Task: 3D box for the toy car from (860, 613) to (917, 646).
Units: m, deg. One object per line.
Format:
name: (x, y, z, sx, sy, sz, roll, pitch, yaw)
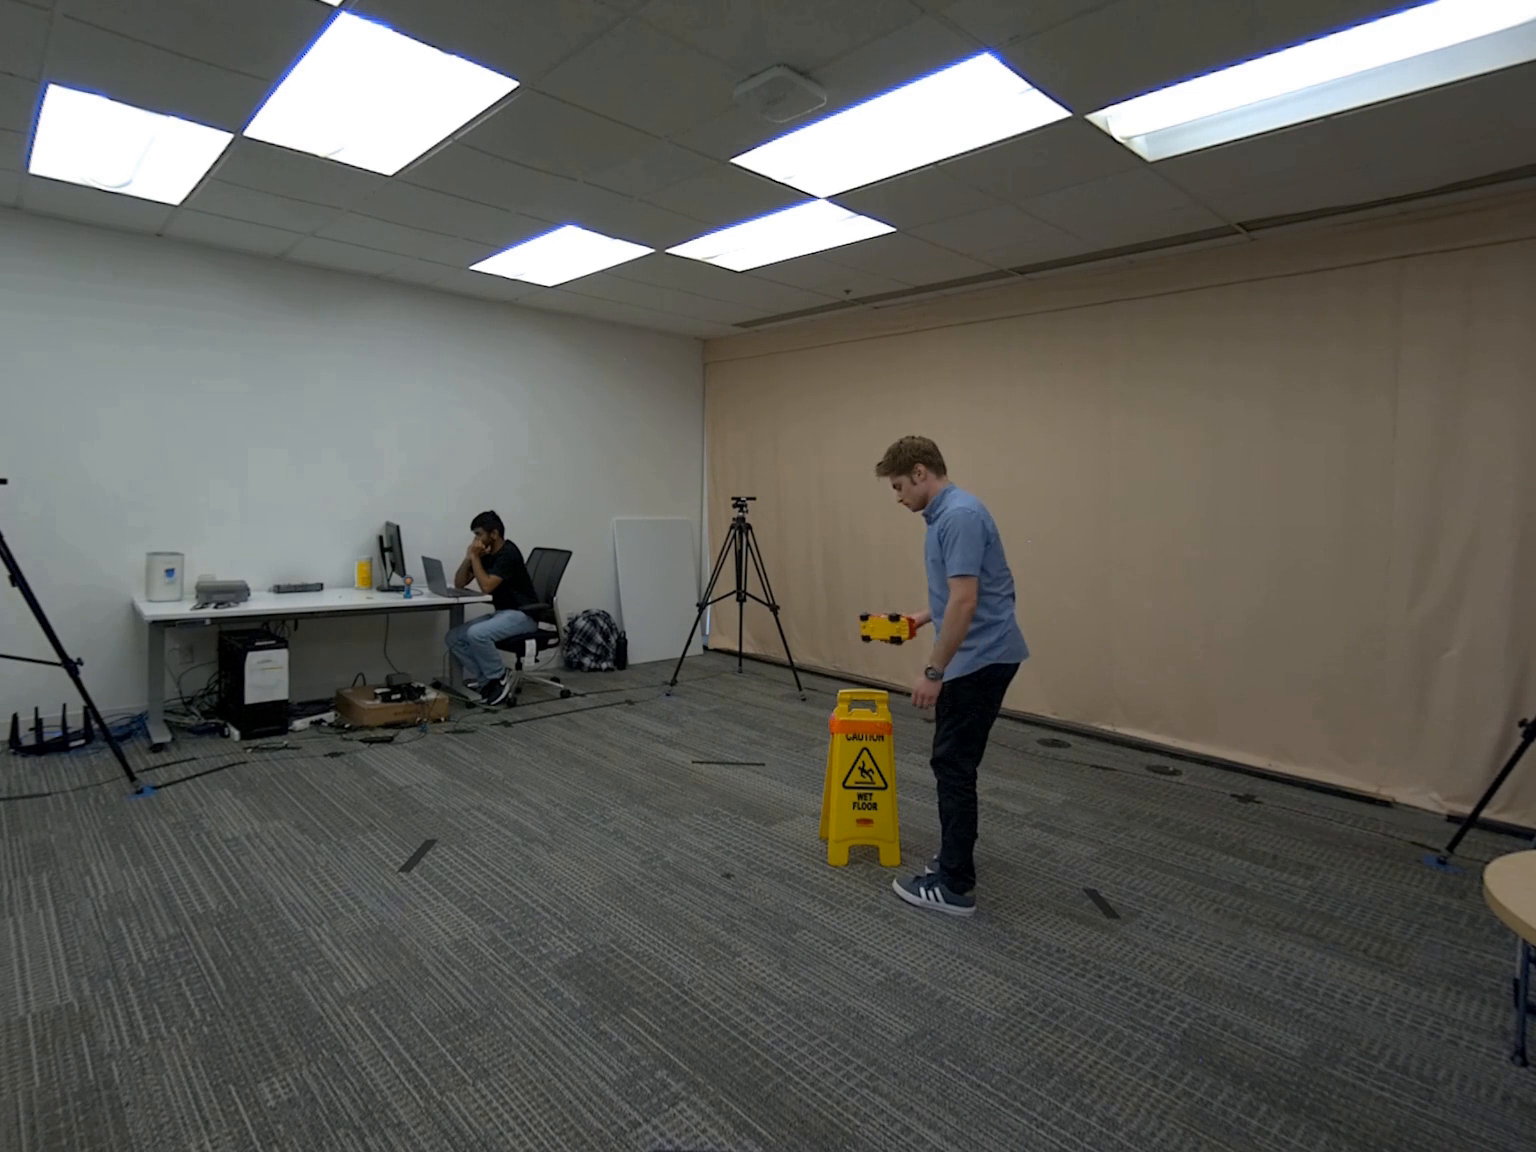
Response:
toy car: (0.477, 0.214, 3.395, 0.259, 0.130, 0.082, -5, 3, 32)
